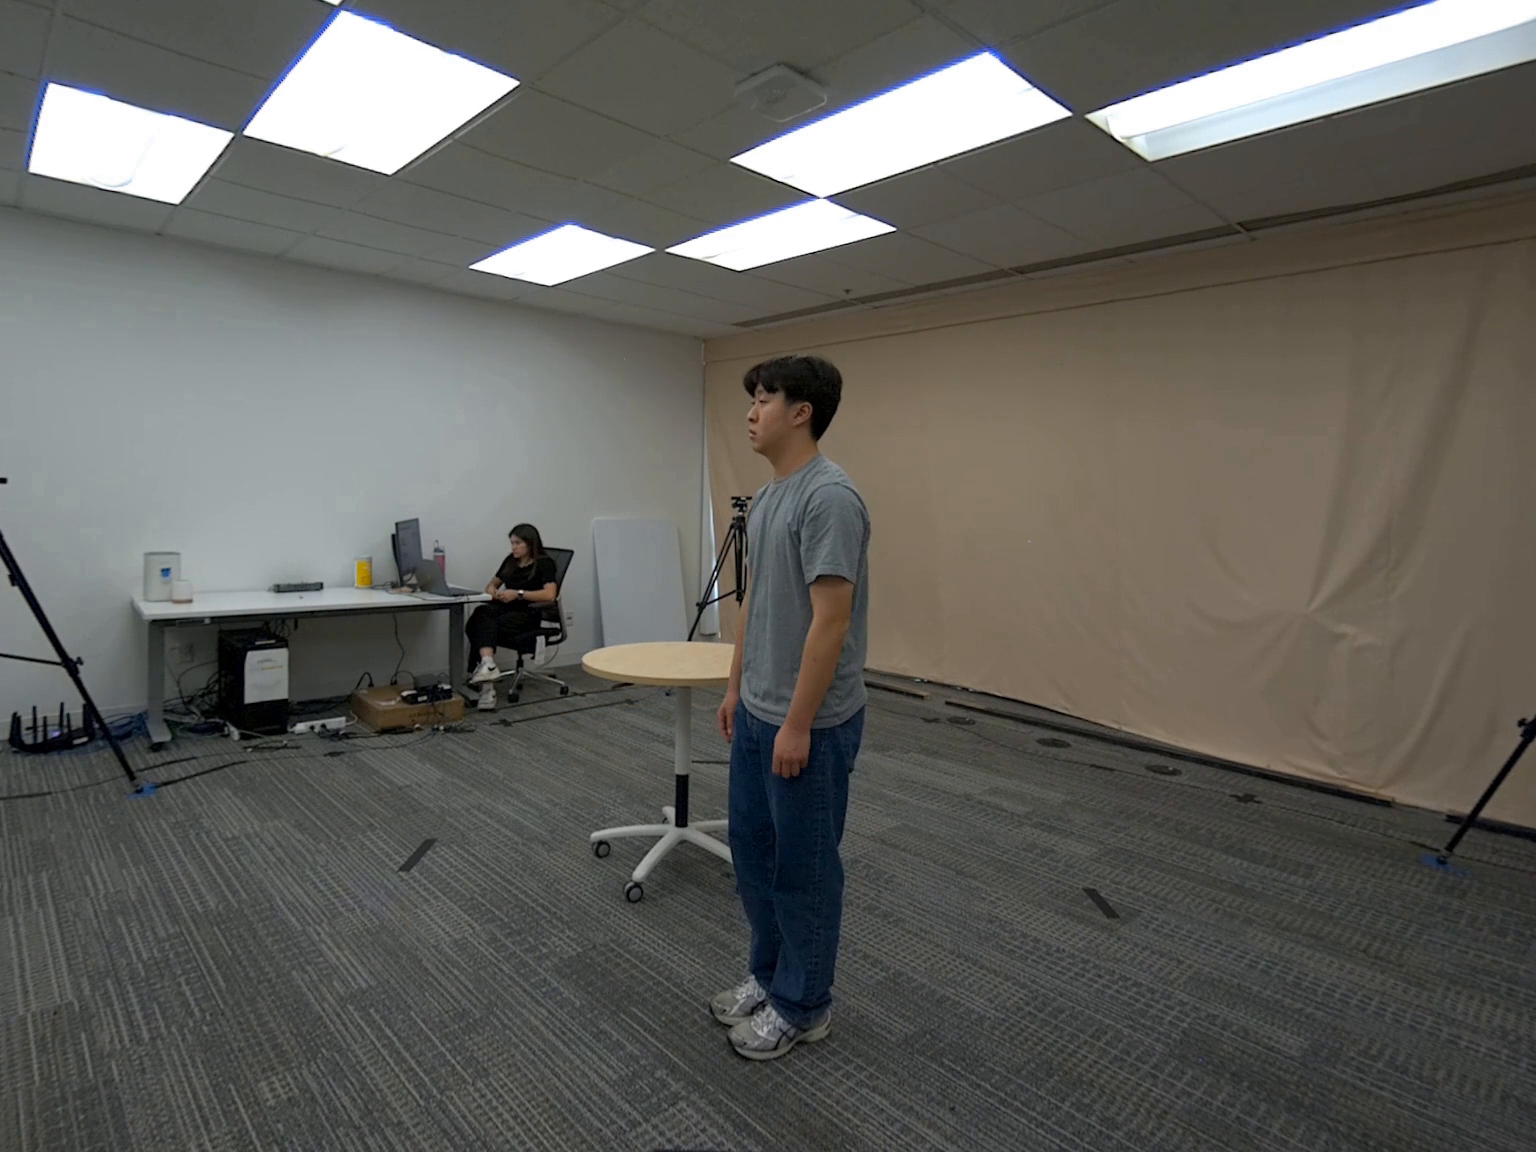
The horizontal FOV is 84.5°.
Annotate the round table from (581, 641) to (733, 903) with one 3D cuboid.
[{"bbox_3d":[-0.328,0.705,3.196,0.763,0.792,0.766,1,4,-1],"label":"round table"}]
